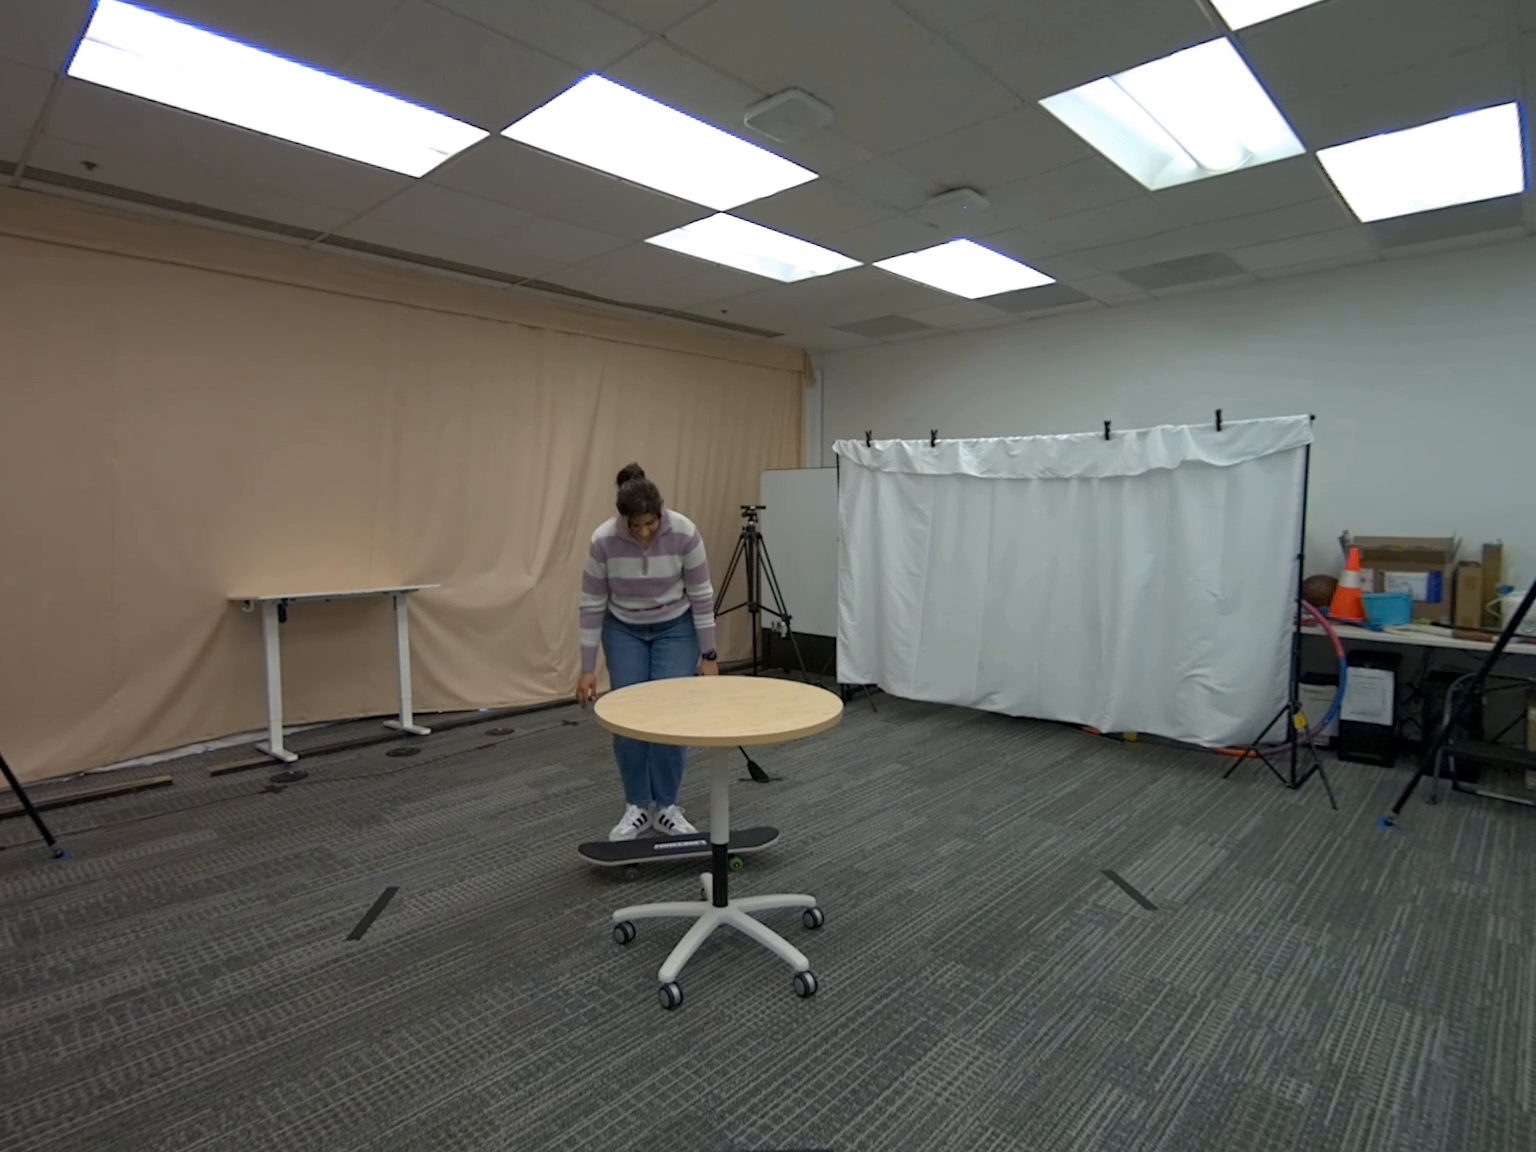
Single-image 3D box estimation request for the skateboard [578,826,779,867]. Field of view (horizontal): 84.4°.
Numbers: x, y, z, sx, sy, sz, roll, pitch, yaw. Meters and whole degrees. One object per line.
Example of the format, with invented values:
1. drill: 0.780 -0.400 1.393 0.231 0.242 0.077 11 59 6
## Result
1. skateboard: -0.338 1.064 3.241 0.776 0.110 0.196 -1 5 -11
